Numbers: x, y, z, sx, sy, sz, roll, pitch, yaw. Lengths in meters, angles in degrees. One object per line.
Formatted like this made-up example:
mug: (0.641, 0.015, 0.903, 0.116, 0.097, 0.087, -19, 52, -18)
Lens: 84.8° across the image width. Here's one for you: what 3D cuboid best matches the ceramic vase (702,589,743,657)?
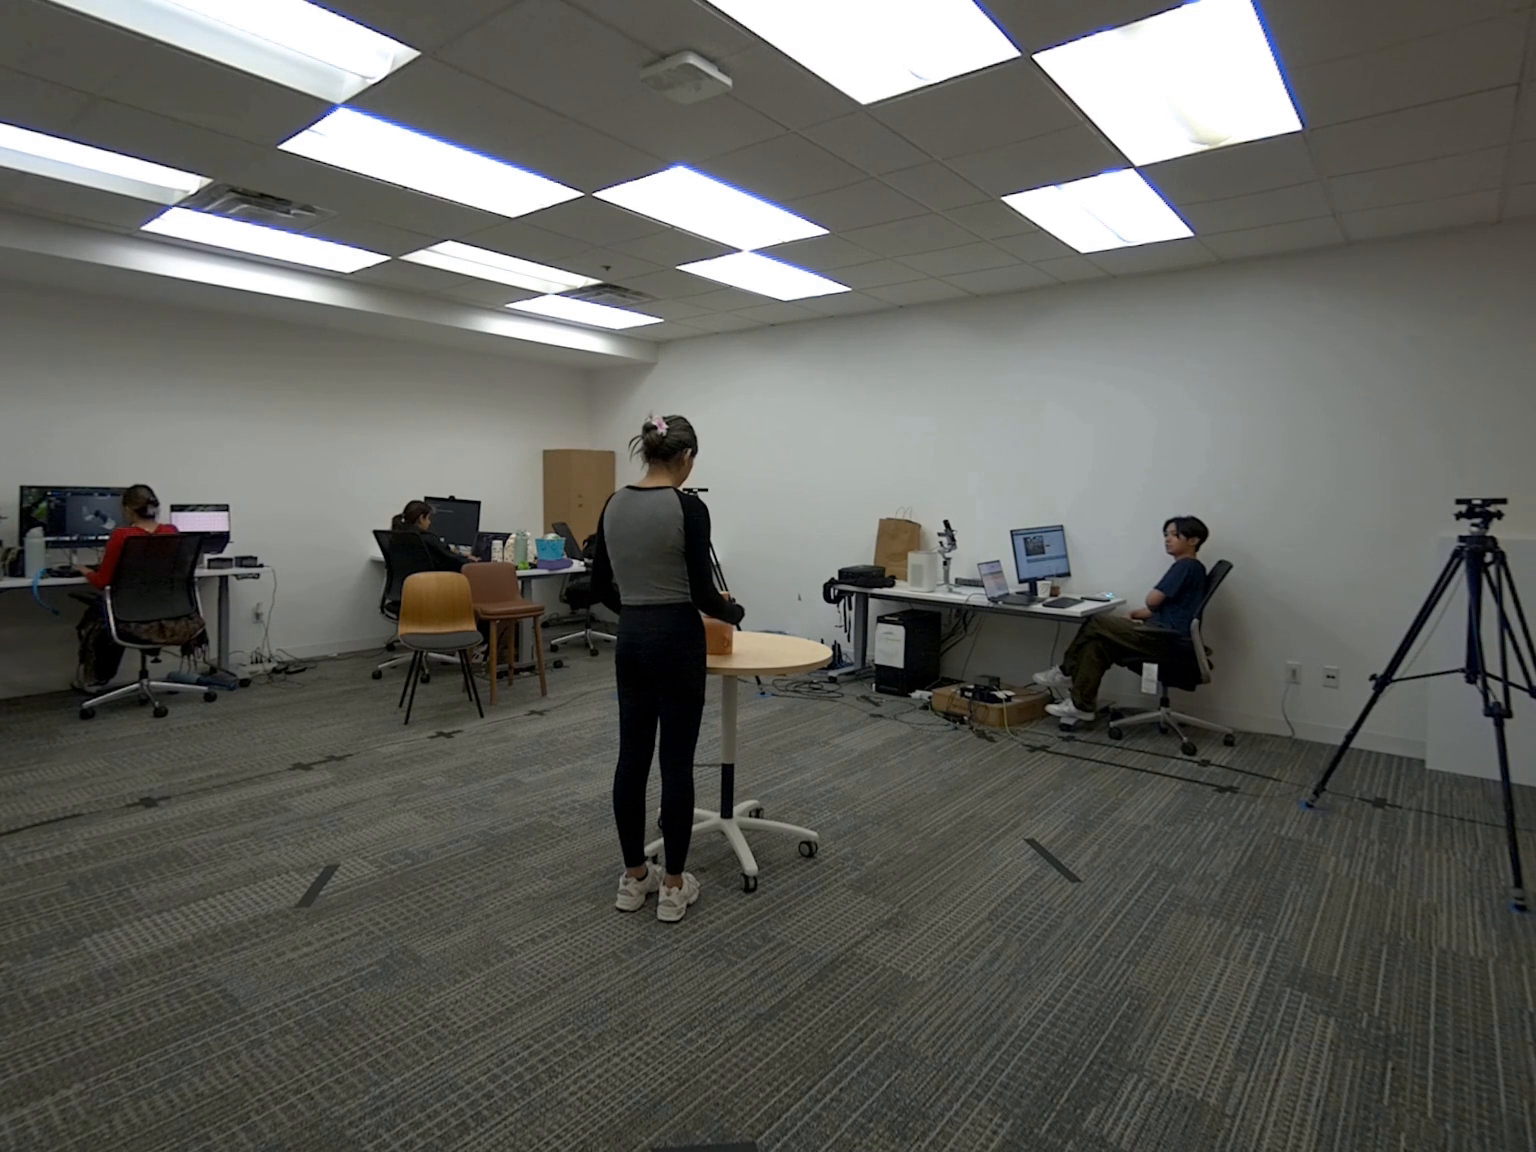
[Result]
ceramic vase: (-0.196, 0.167, 3.108, 0.162, 0.219, 0.133, 4, 4, 16)
